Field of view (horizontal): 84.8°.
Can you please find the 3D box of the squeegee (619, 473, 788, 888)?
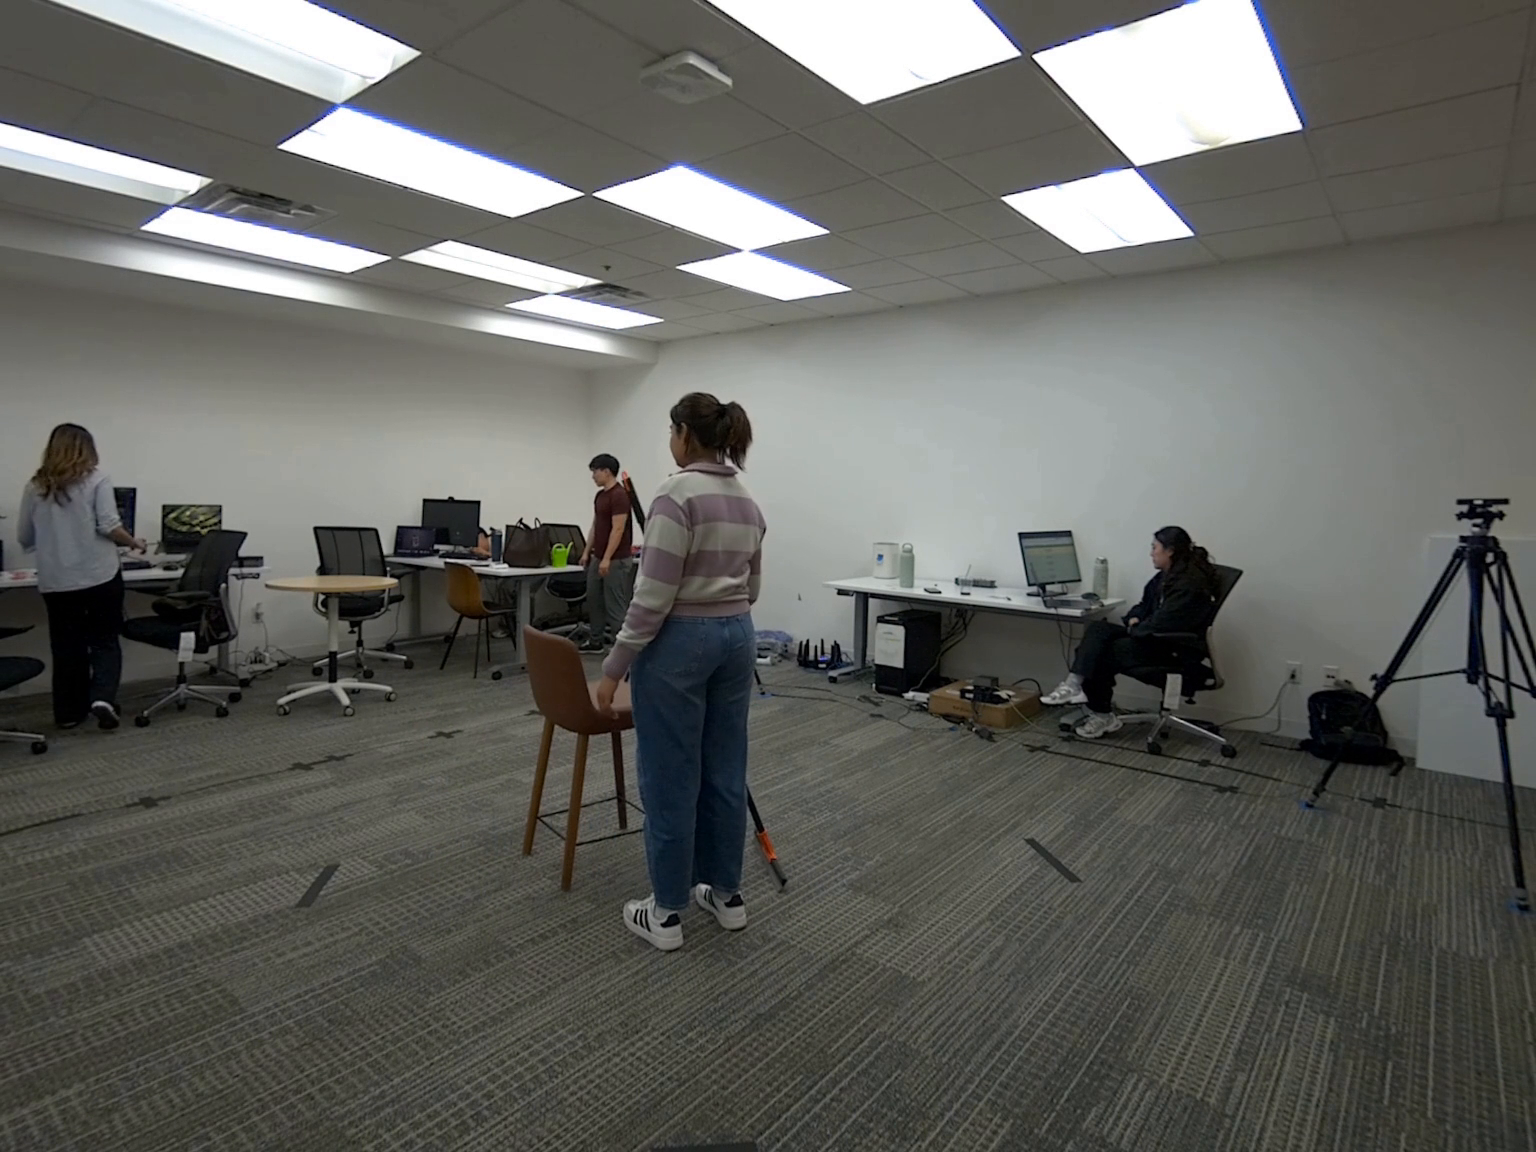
[{"bbox_3d":[-0.263,0.349,3.087,0.053,1.529,0.442,-21,4,-7],"label":"squeegee"}]
